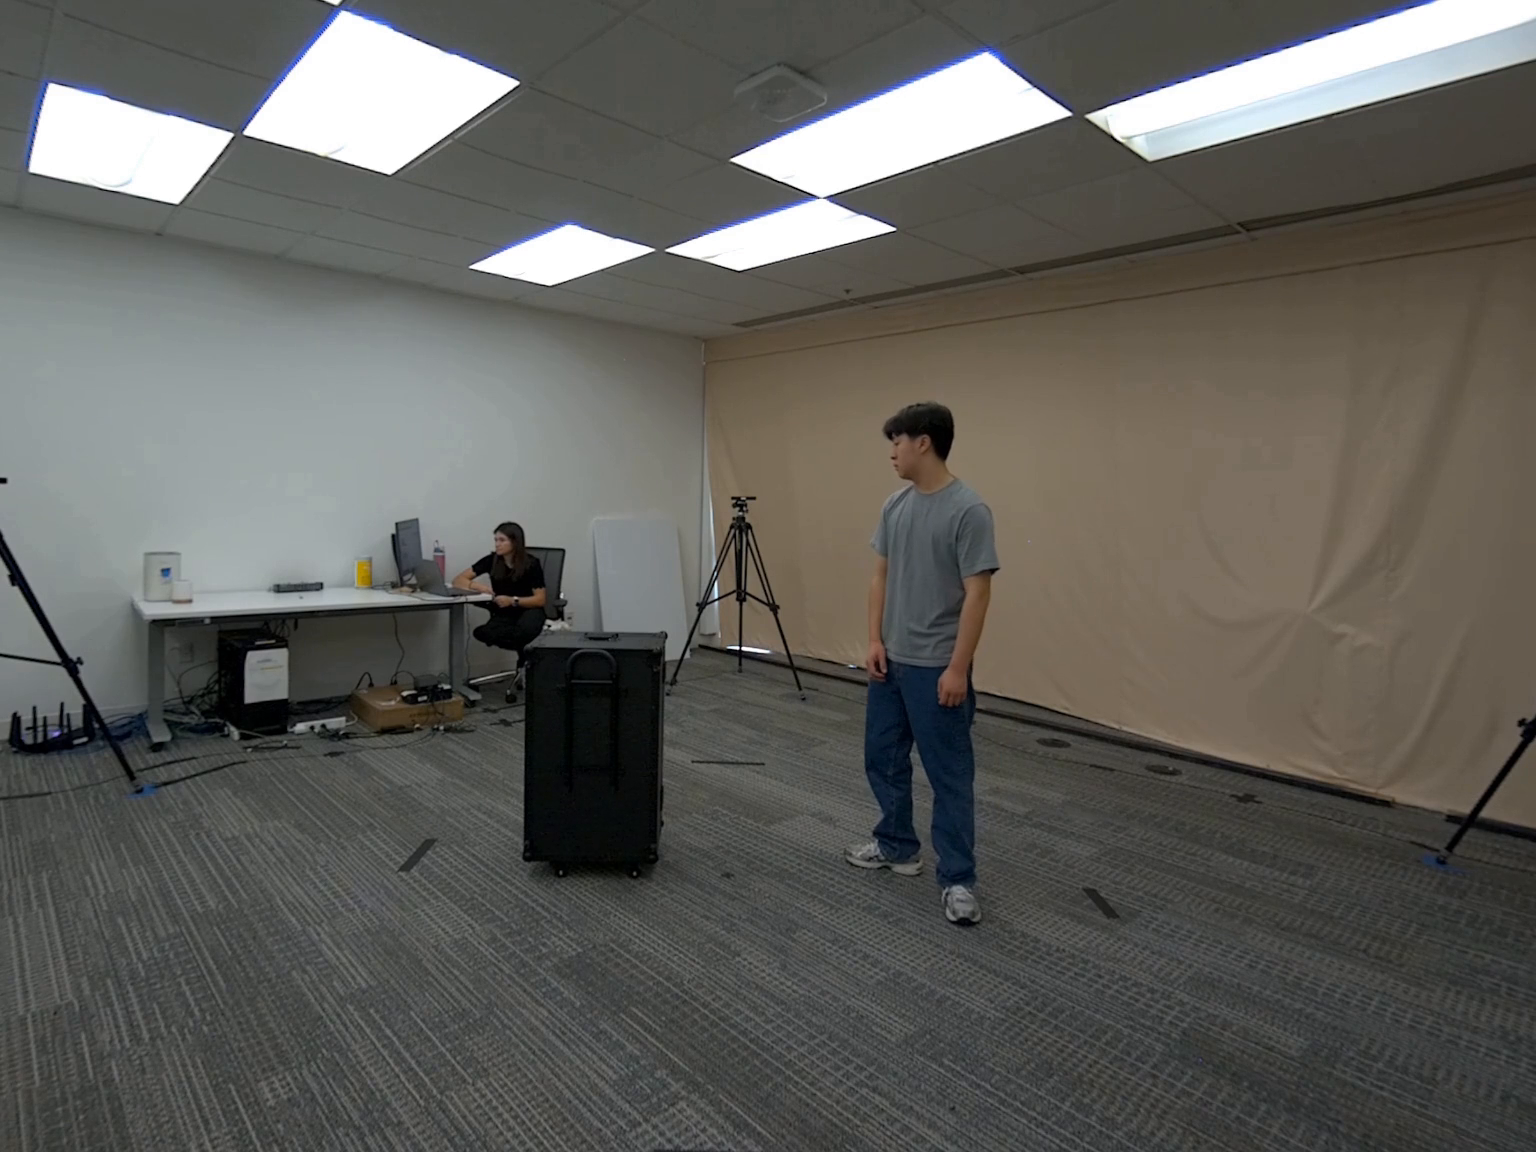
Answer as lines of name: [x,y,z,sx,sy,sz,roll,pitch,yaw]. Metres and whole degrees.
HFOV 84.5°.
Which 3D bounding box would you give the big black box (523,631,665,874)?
big black box: [-0.638,0.655,3.168,0.521,0.859,0.398,1,4,-2]
